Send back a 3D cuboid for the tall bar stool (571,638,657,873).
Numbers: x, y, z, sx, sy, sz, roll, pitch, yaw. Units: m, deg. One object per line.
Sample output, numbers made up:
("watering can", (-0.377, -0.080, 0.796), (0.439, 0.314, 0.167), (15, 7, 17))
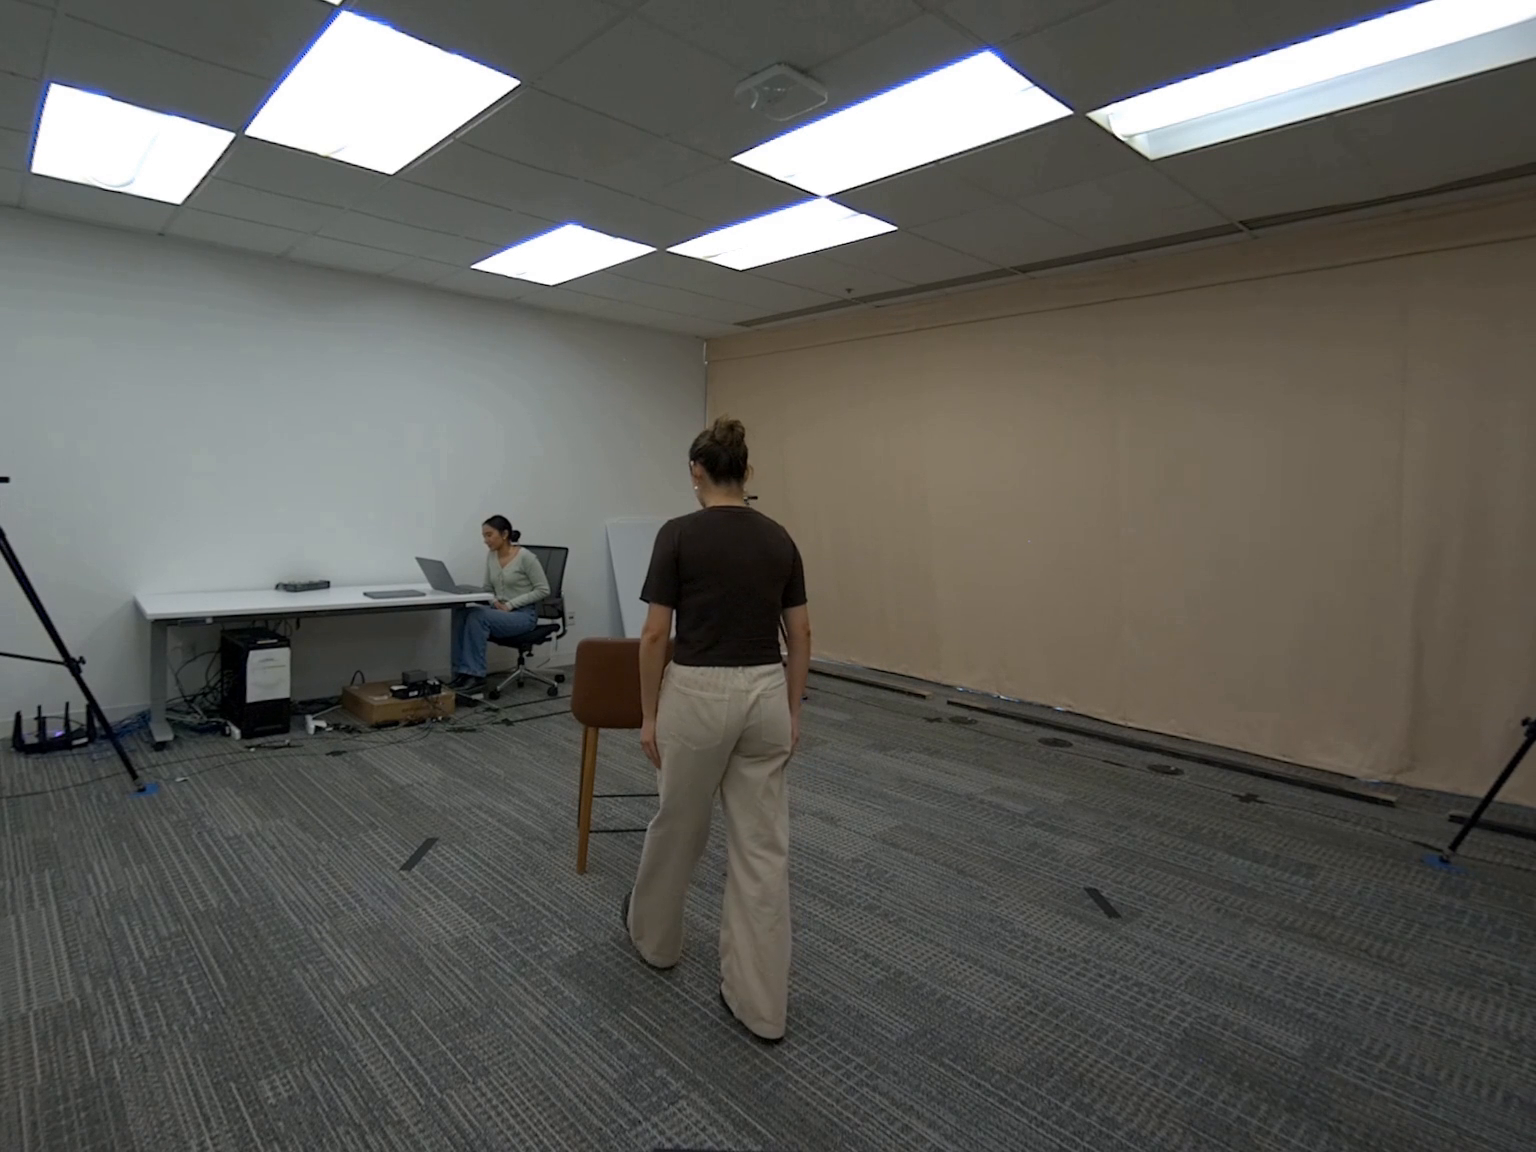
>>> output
("tall bar stool", (-0.546, 0.641, 3.294), (0.454, 0.886, 0.472), (0, 5, -8))
